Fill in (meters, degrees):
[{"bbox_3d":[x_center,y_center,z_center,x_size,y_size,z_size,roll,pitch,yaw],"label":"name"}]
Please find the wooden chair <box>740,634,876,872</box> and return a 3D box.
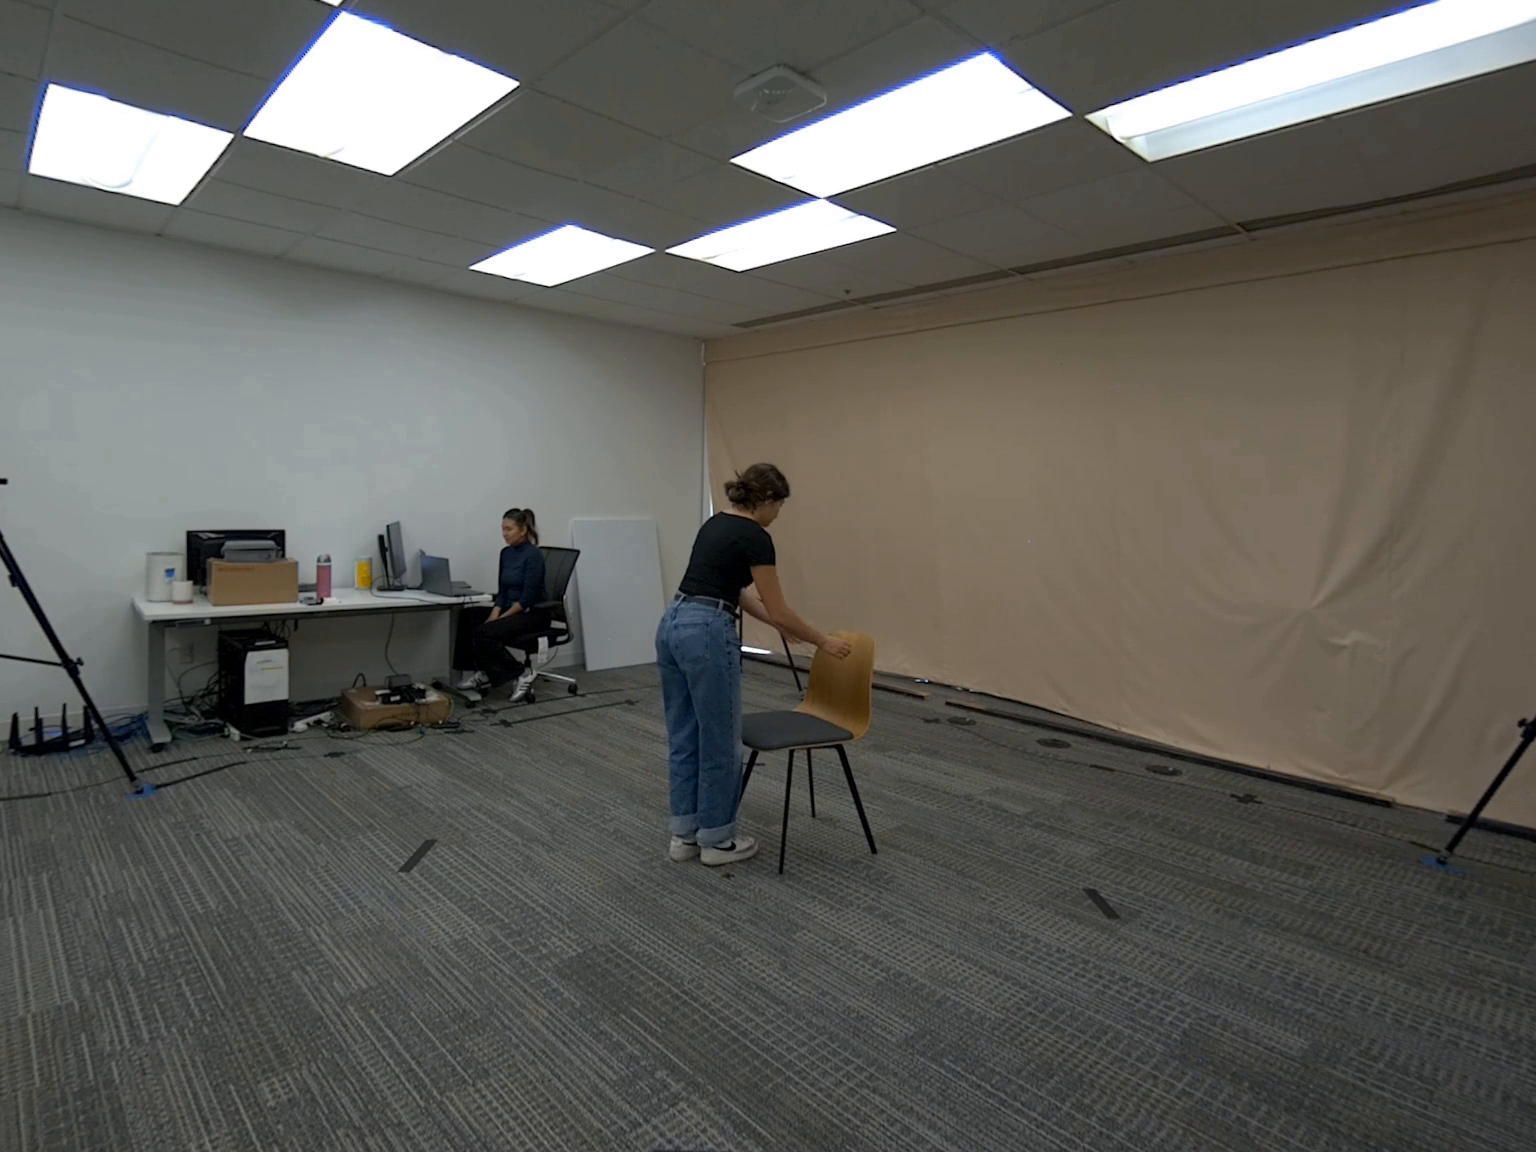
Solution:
[{"bbox_3d":[0.129,0.662,3.385,0.512,0.877,0.489,4,2,-30],"label":"wooden chair"}]
